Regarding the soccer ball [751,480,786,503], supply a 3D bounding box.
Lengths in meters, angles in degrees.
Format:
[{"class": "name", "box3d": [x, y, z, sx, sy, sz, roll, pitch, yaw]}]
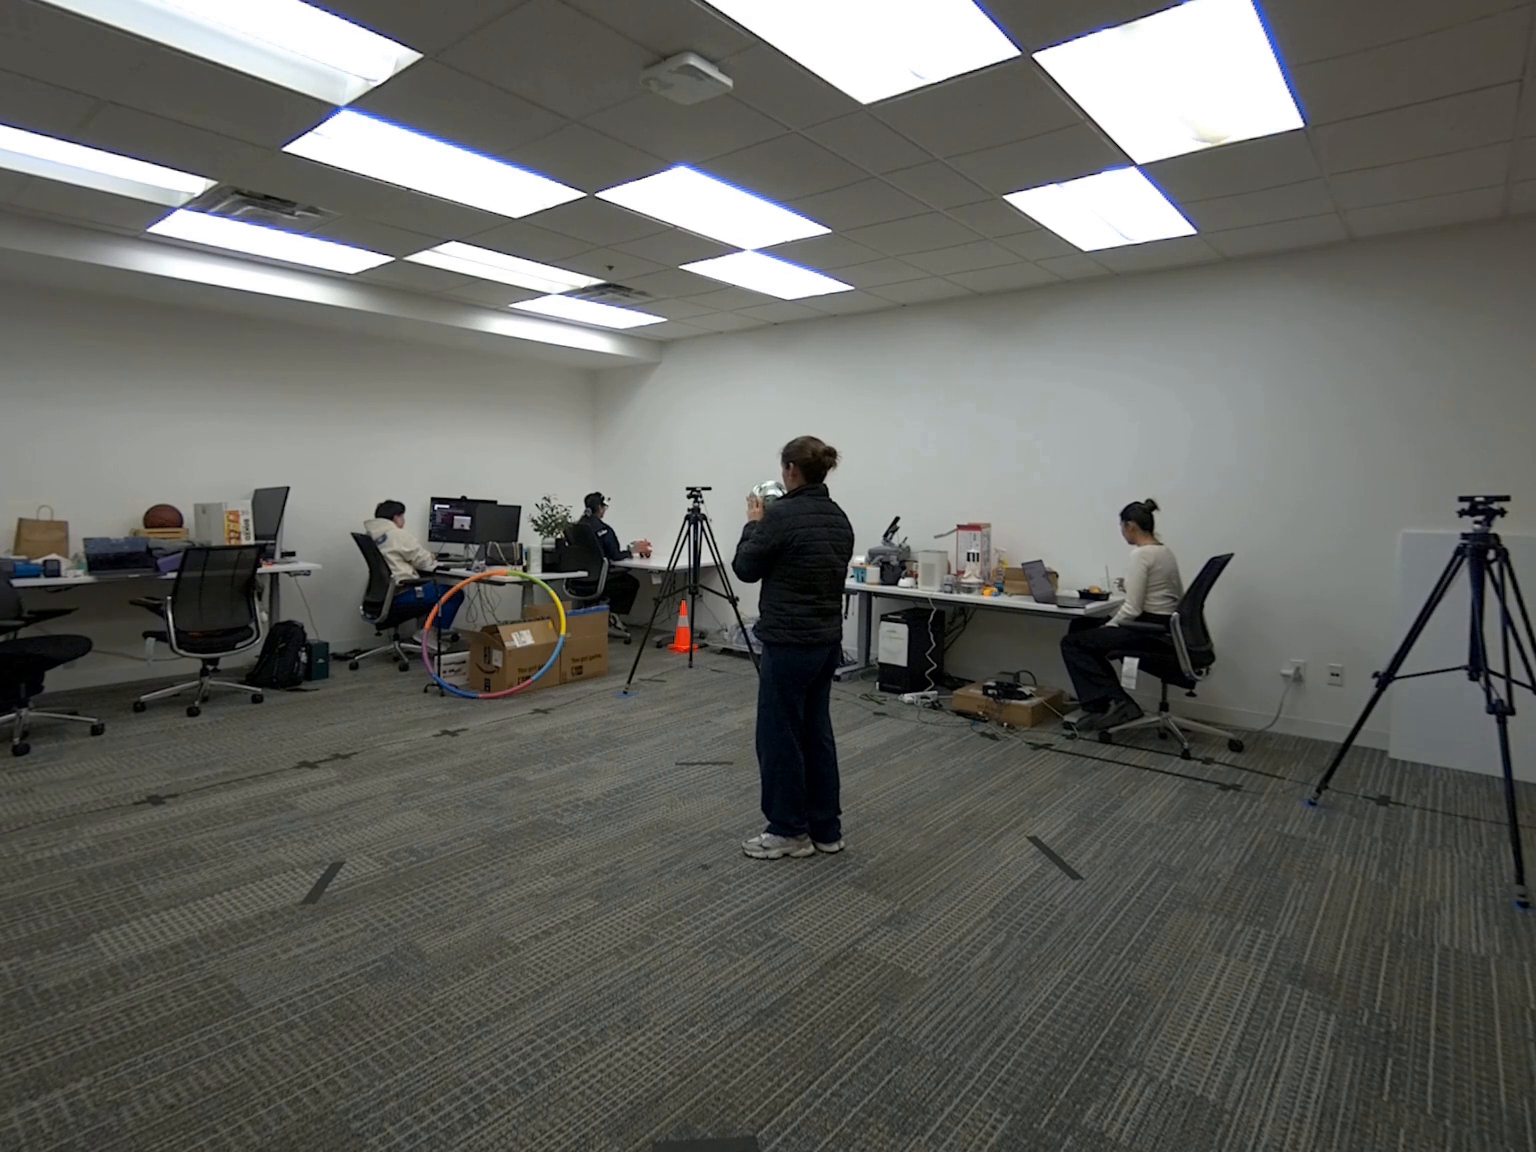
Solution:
[{"class": "soccer ball", "box3d": [0.001, -0.303, 3.531, 0.187, 0.187, 0.188, 1, 4, -2]}]
